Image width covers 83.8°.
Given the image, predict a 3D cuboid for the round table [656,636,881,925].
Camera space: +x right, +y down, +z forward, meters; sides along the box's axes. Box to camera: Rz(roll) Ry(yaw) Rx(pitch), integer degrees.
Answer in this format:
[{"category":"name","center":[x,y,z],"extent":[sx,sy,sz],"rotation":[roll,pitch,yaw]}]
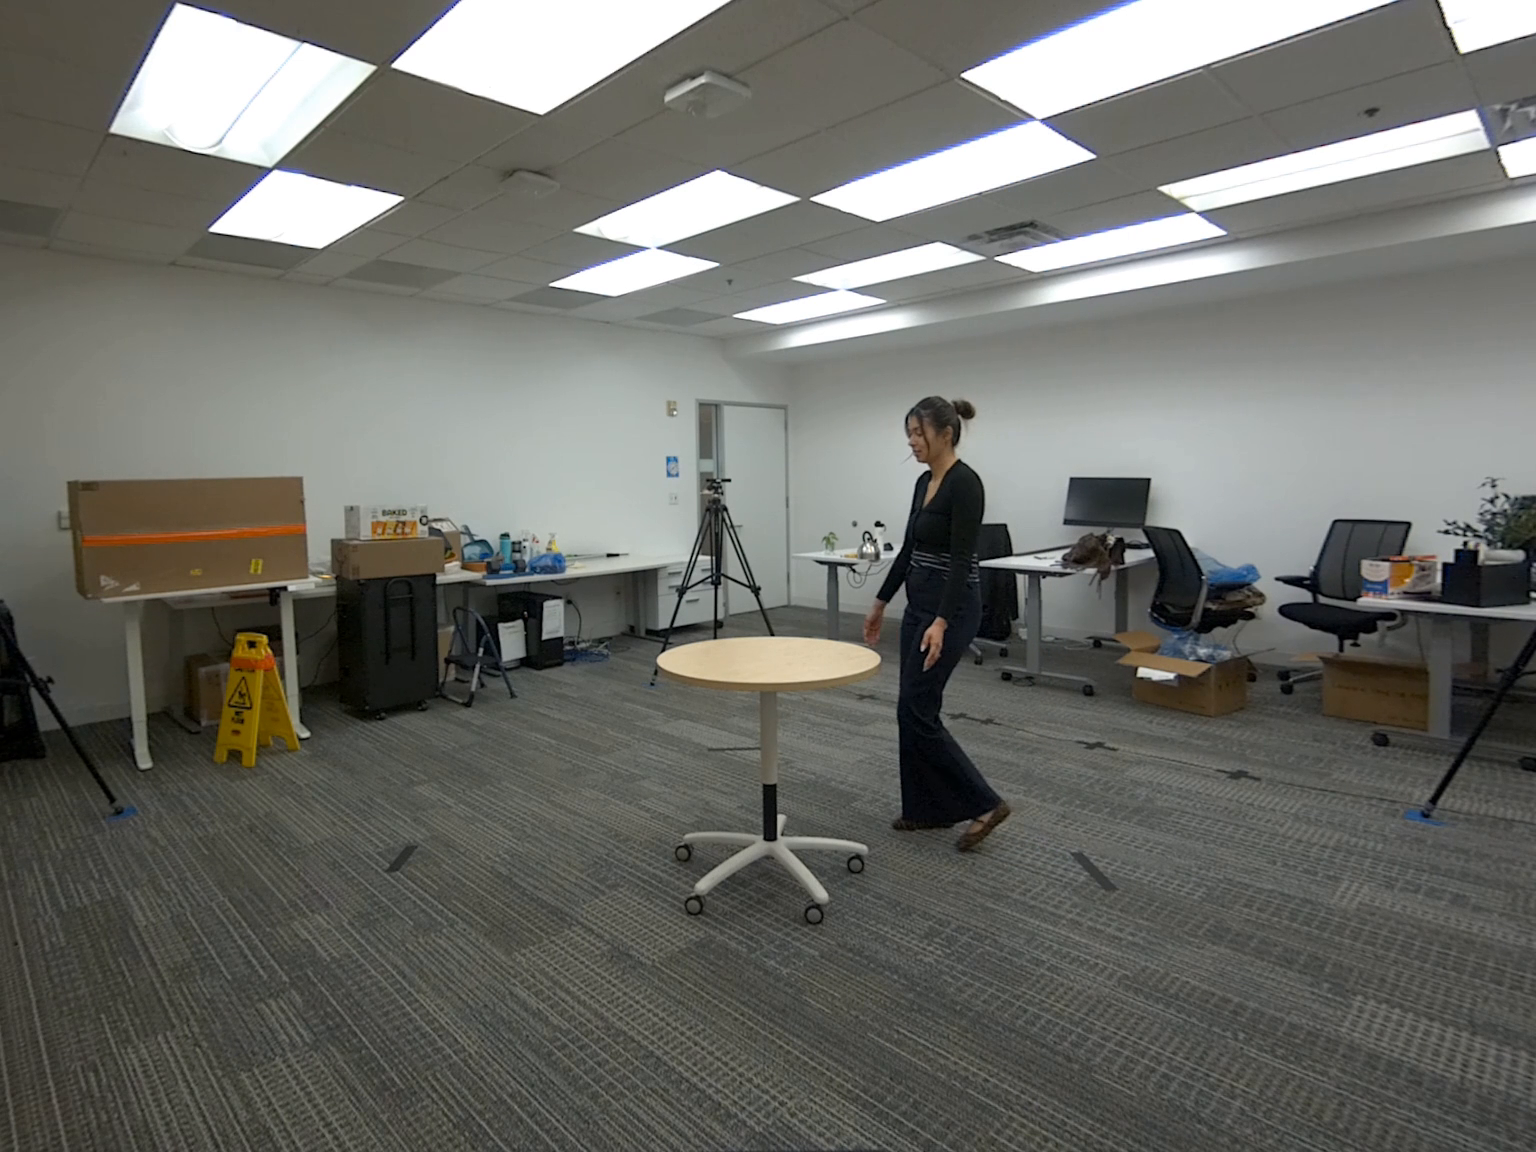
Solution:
[{"category":"round table","center":[0.007,0.670,2.967],"extent":[0.763,0.791,0.768],"rotation":[-1,5,-2]}]
